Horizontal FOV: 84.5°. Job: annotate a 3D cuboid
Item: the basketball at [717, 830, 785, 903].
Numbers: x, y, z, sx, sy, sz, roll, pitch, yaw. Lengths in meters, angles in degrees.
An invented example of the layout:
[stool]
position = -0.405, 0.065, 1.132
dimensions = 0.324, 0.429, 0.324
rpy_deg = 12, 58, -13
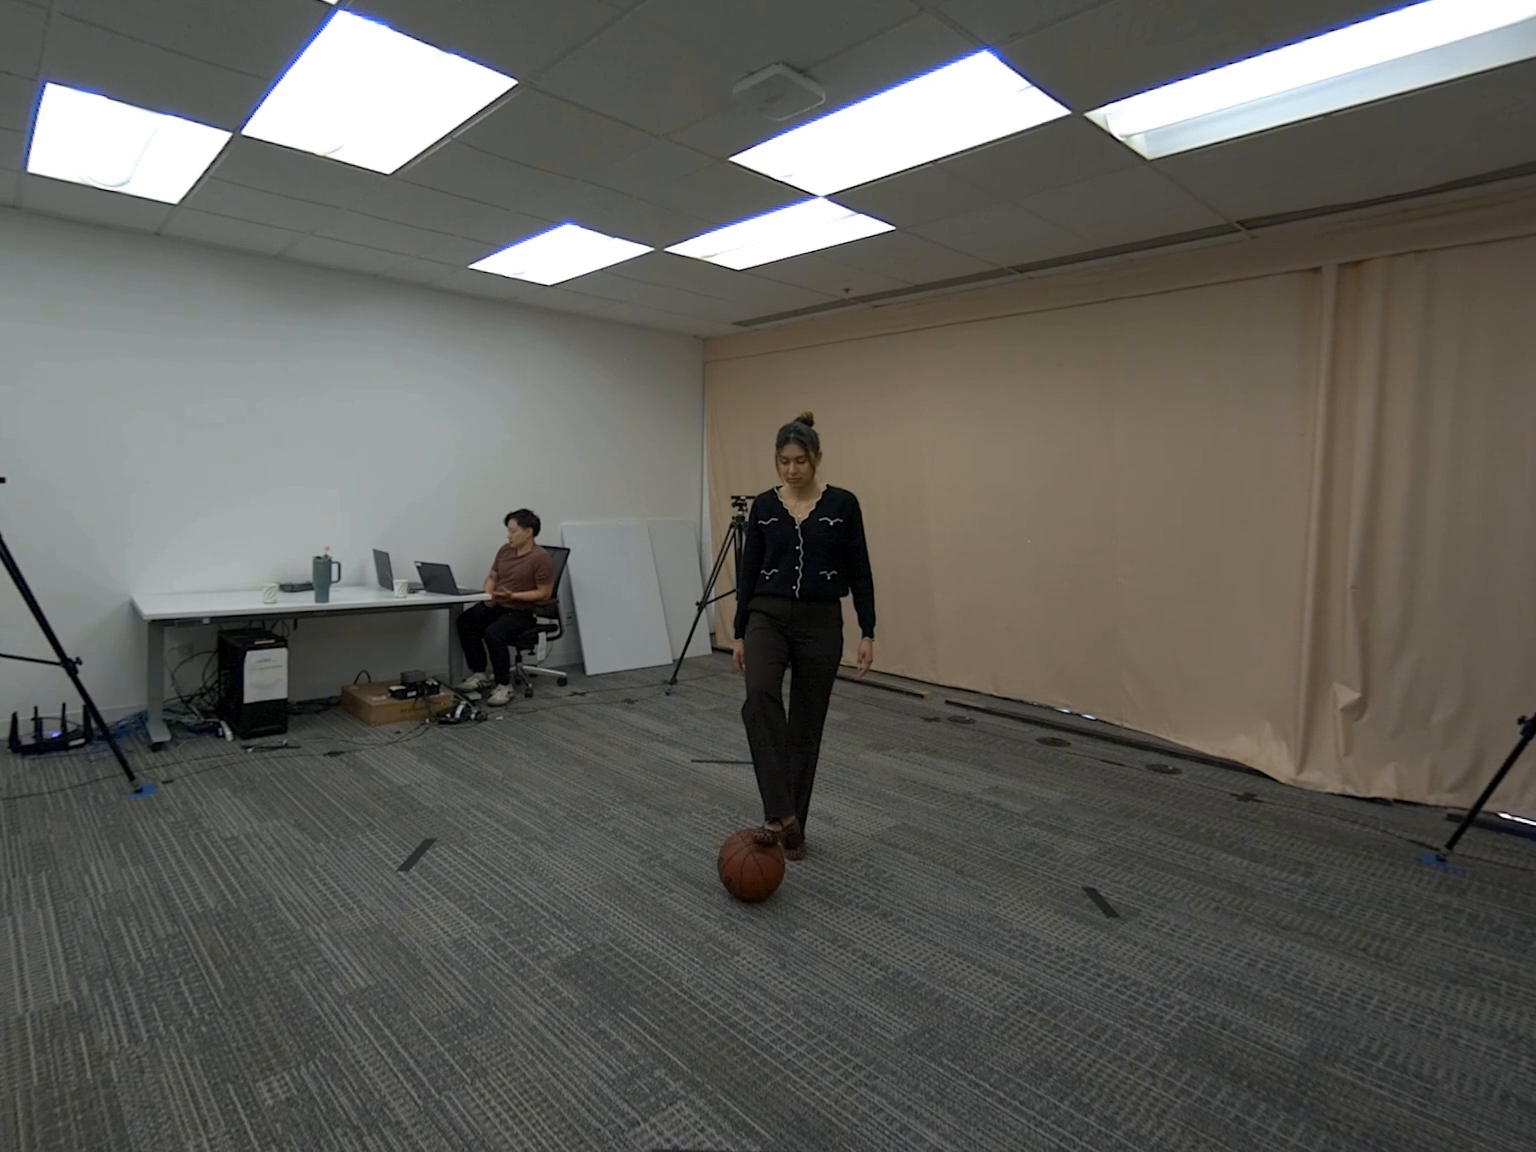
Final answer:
[basketball]
position = -0.075, 1.002, 2.931
dimensions = 0.236, 0.235, 0.237
rpy_deg = 1, 4, -1
